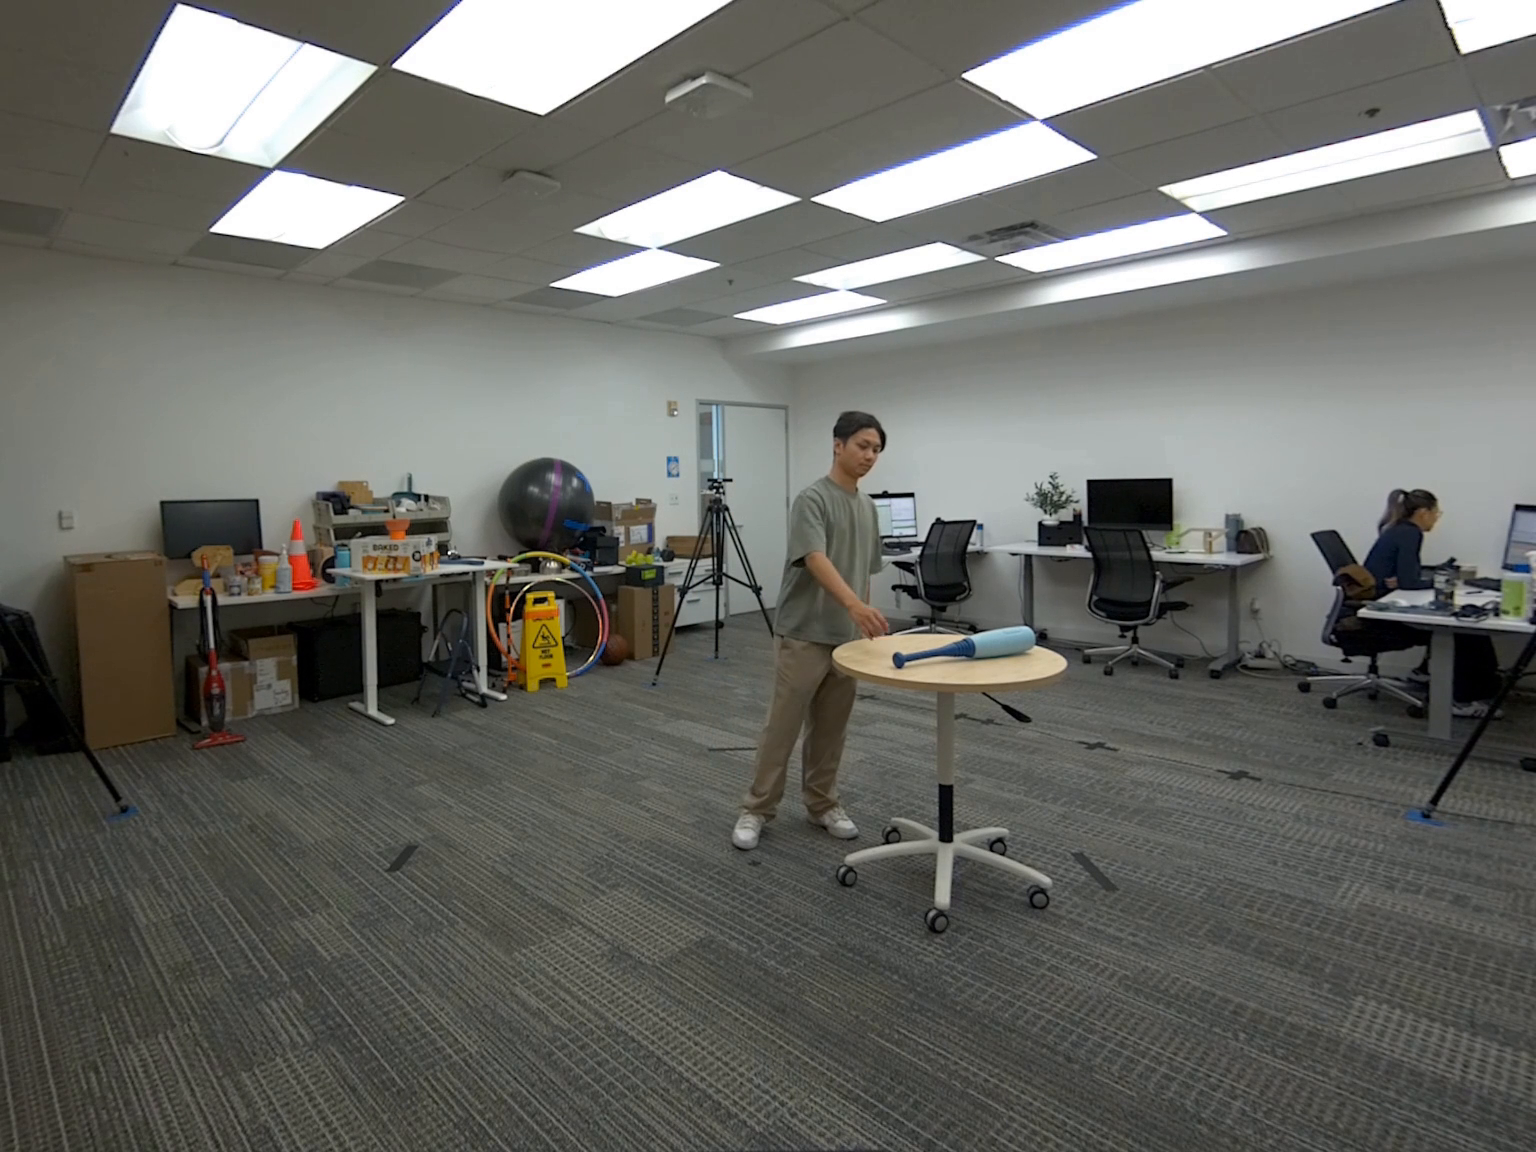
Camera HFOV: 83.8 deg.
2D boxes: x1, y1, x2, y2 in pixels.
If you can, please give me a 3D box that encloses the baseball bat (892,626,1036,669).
[{"bbox_3d":[0.652,0.243,2.834,0.533,0.088,0.091,-7,7,-23],"label":"baseball bat"}]
